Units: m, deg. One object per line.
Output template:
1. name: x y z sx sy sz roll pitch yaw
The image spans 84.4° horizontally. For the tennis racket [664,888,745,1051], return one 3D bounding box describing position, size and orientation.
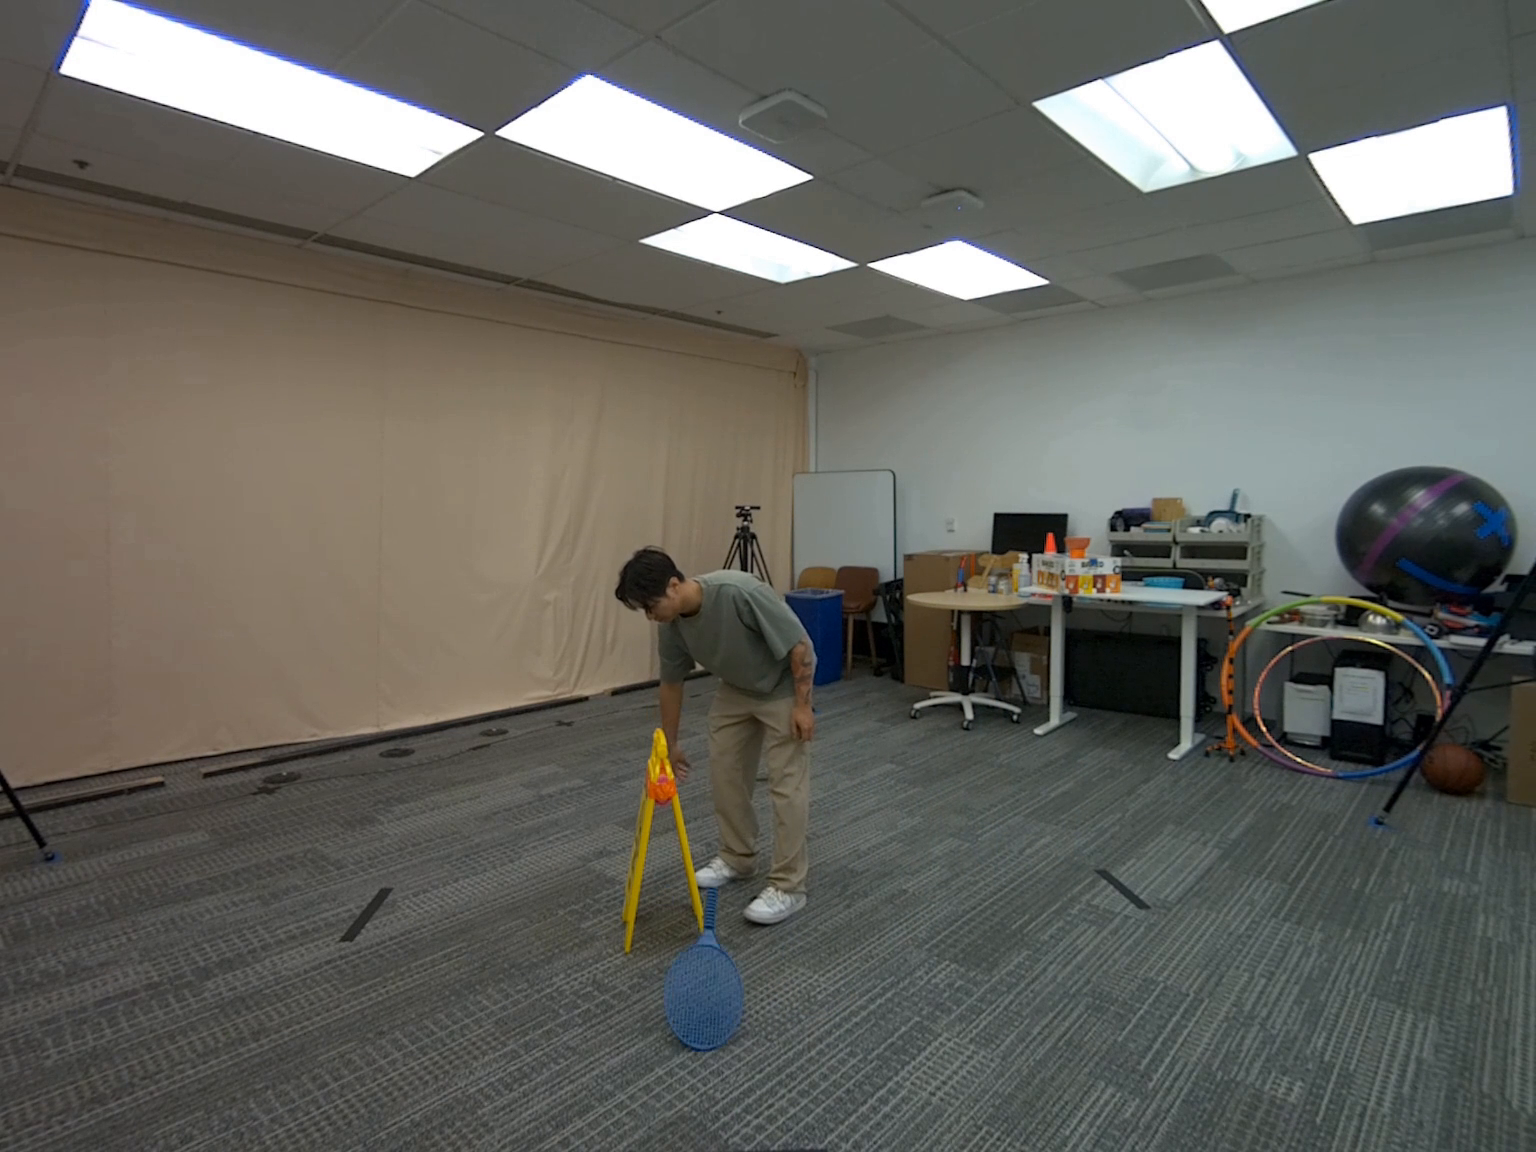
1. tennis racket: -0.163 1.058 2.338 0.215 0.031 0.440 0 43 4
